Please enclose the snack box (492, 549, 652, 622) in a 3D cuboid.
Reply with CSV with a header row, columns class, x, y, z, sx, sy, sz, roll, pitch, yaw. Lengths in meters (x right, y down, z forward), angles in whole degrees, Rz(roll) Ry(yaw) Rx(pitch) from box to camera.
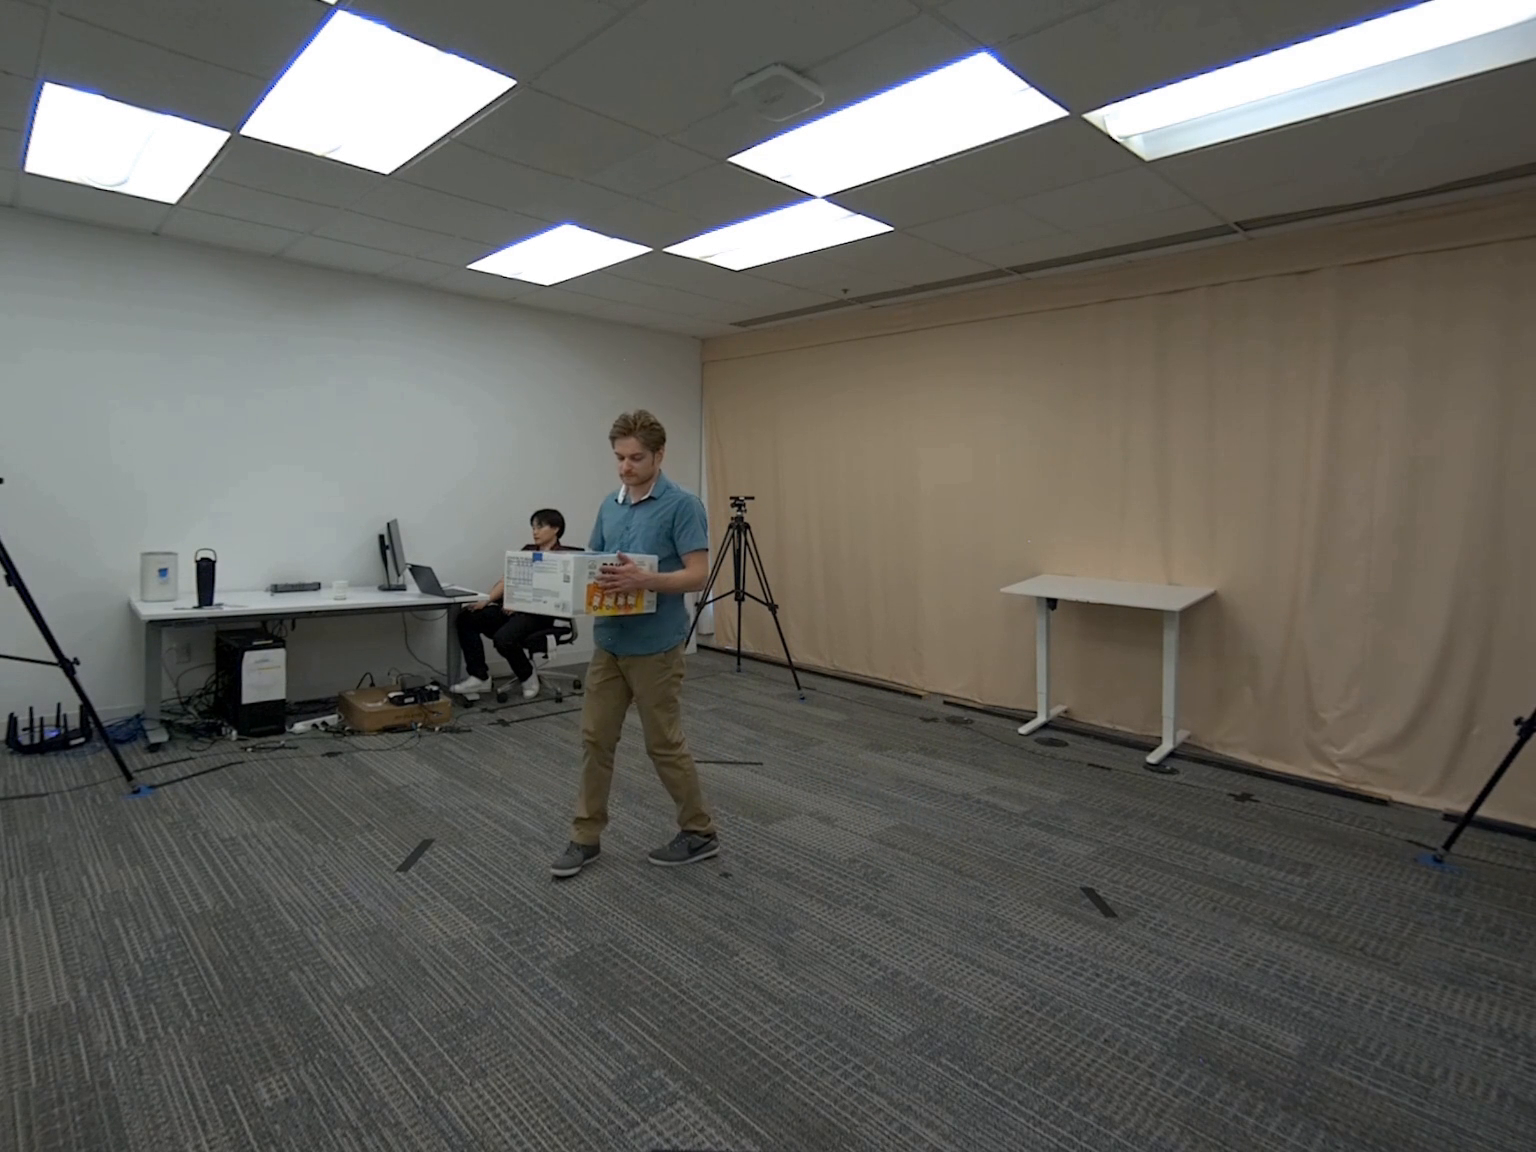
class,x,y,z,sx,sy,sz,roll,pitch,yaw
snack box,-0.669,0.022,2.909,0.348,0.205,0.396,5,3,33
